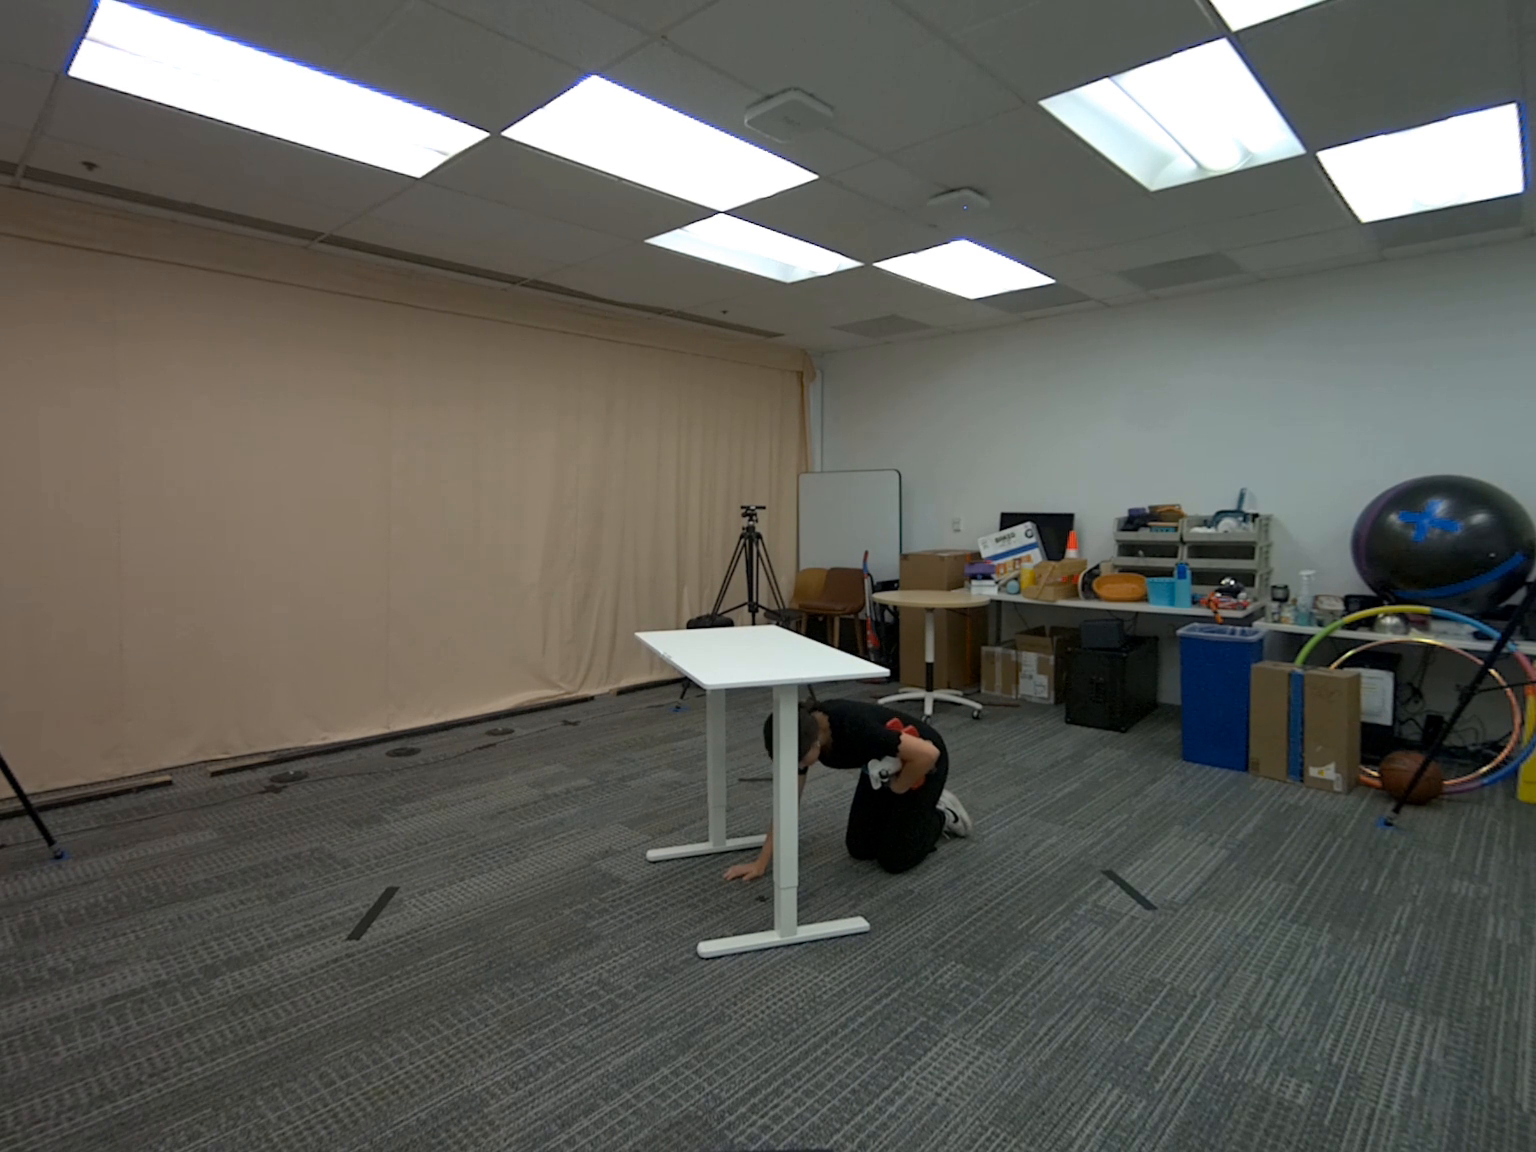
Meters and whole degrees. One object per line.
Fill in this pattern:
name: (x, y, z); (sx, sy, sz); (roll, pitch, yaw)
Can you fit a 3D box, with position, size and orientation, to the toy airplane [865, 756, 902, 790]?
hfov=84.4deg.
toy airplane: (0.467, 0.651, 3.055); (0.252, 0.250, 0.161); (11, 9, -25)
